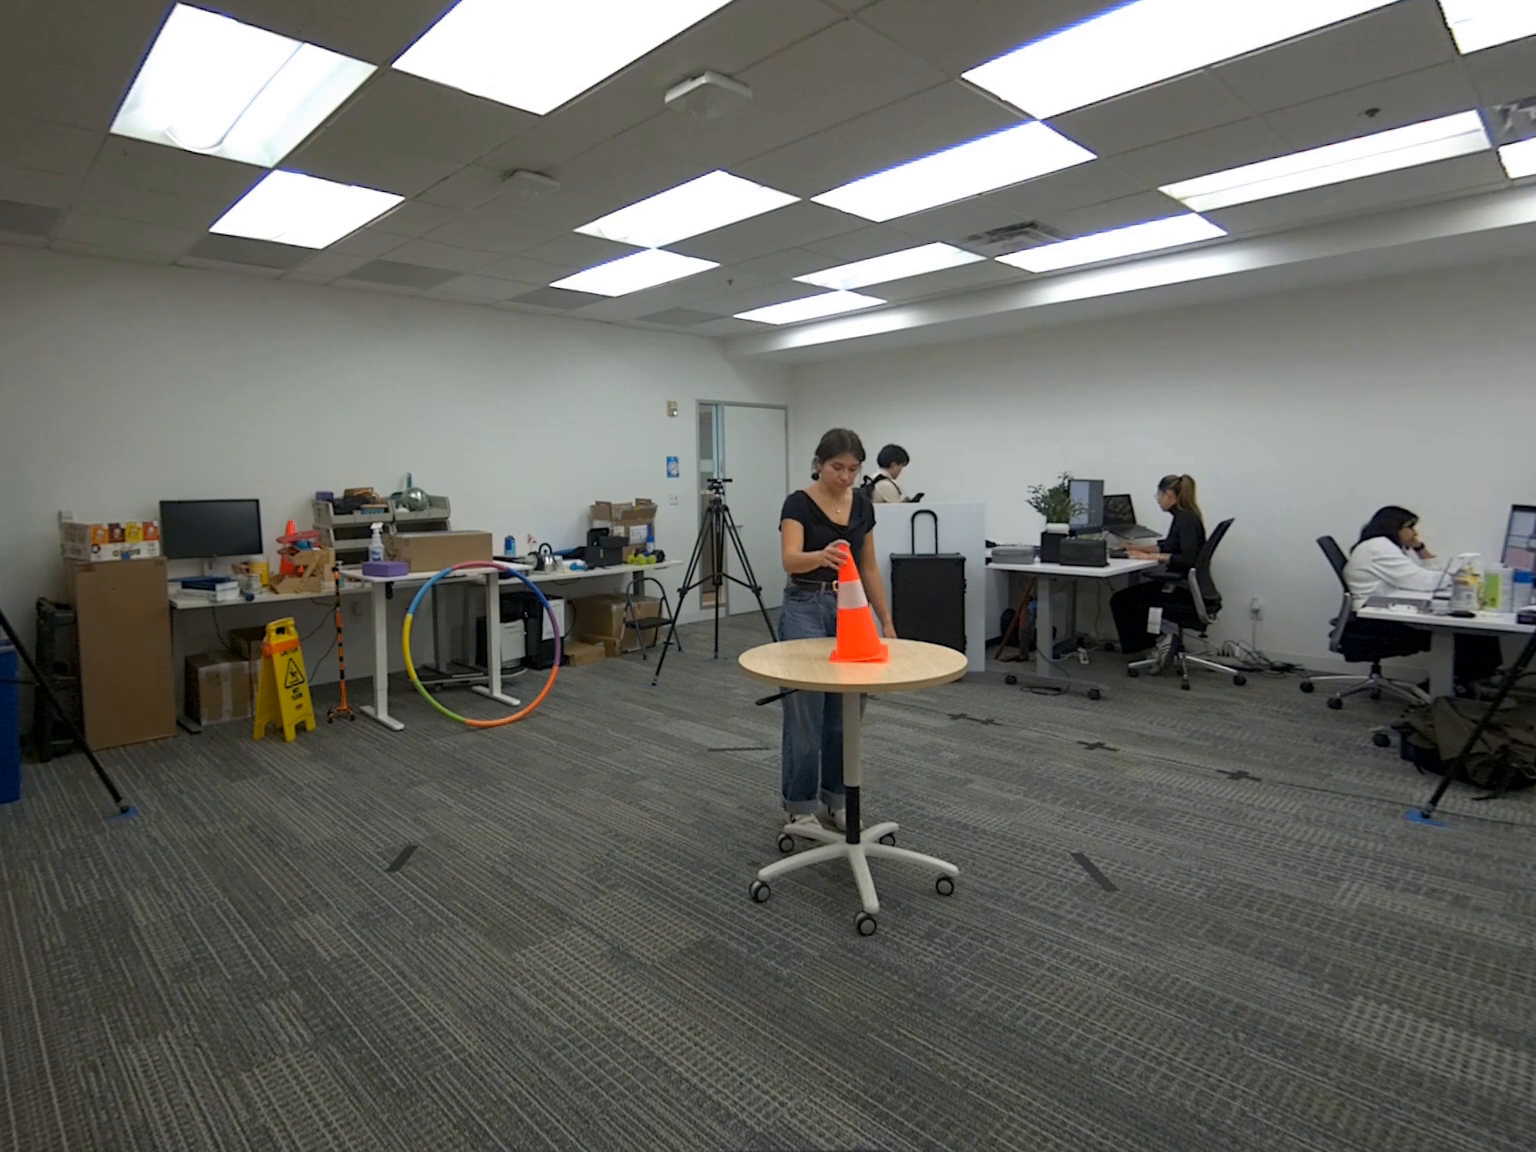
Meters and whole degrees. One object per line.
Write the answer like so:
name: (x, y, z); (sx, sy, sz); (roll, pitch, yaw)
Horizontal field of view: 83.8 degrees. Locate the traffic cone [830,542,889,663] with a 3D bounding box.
traffic cone: (0.285, 0.086, 2.911); (0.203, 0.381, 0.206); (-8, 7, 1)
